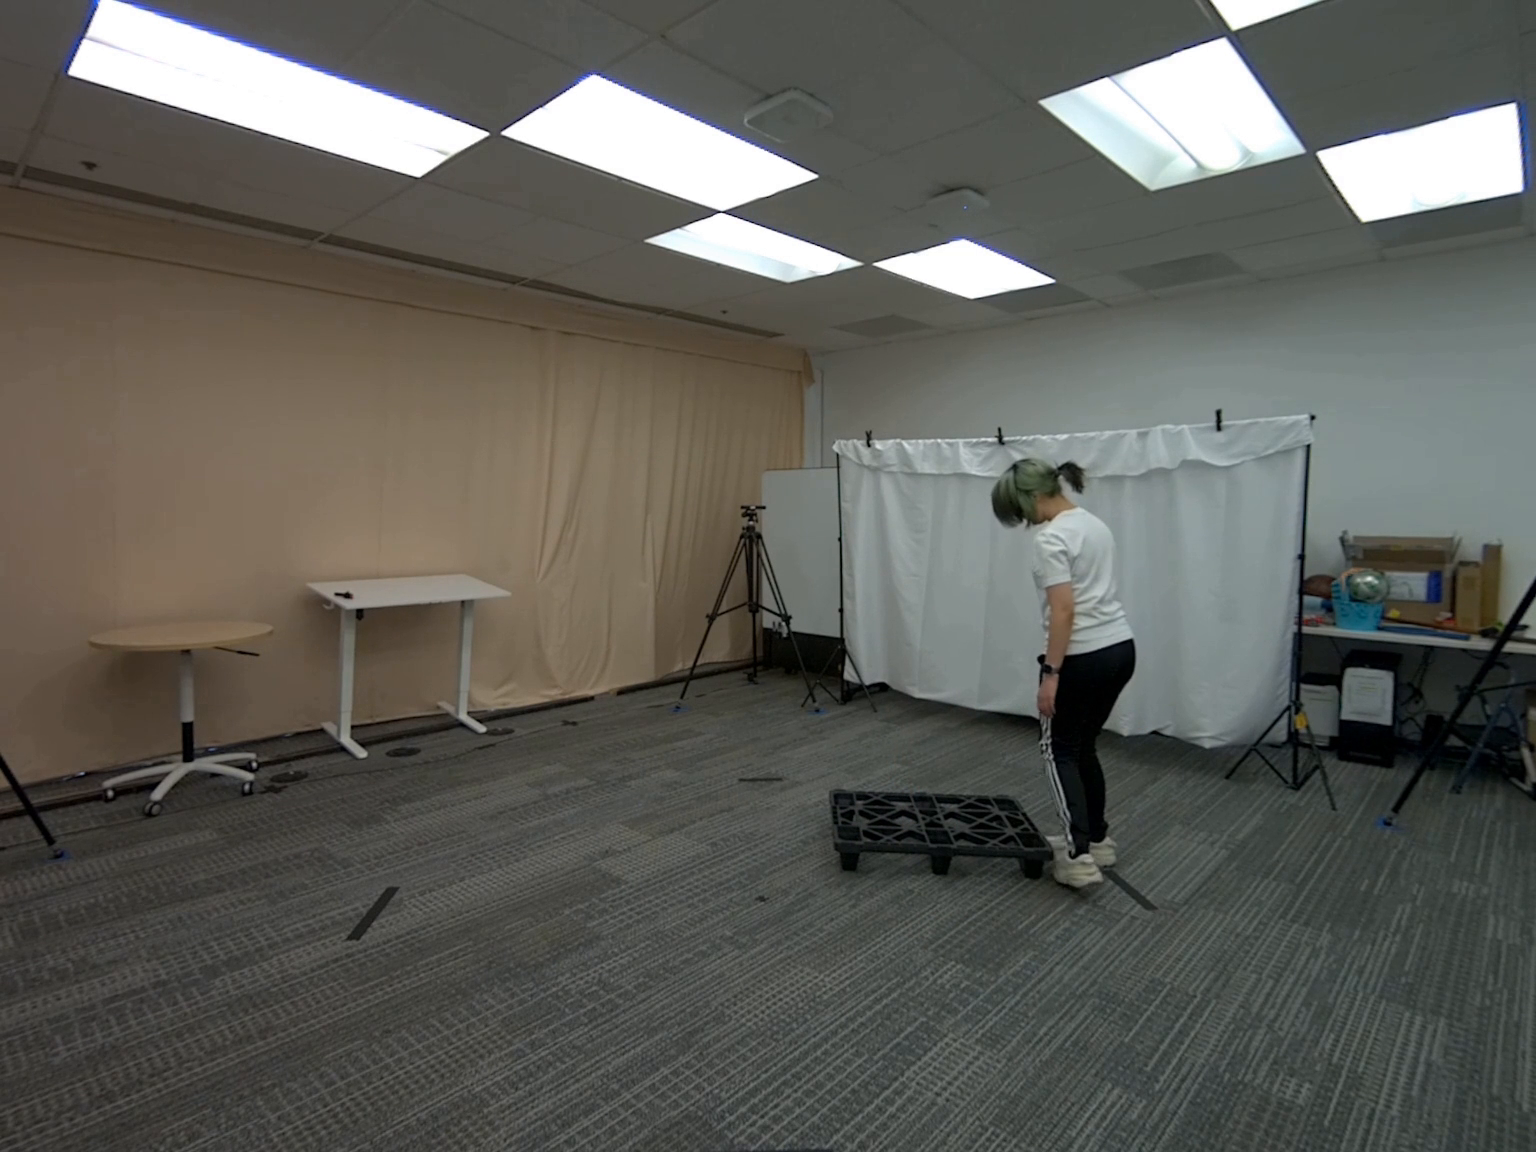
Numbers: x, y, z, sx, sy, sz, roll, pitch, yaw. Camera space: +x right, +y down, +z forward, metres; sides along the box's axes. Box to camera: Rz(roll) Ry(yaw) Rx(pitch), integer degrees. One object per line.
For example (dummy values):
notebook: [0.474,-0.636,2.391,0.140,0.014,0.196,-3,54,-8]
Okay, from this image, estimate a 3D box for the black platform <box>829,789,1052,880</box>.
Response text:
black platform: [0.660,1.038,3.404,0.810,0.143,0.603,0,3,4]
